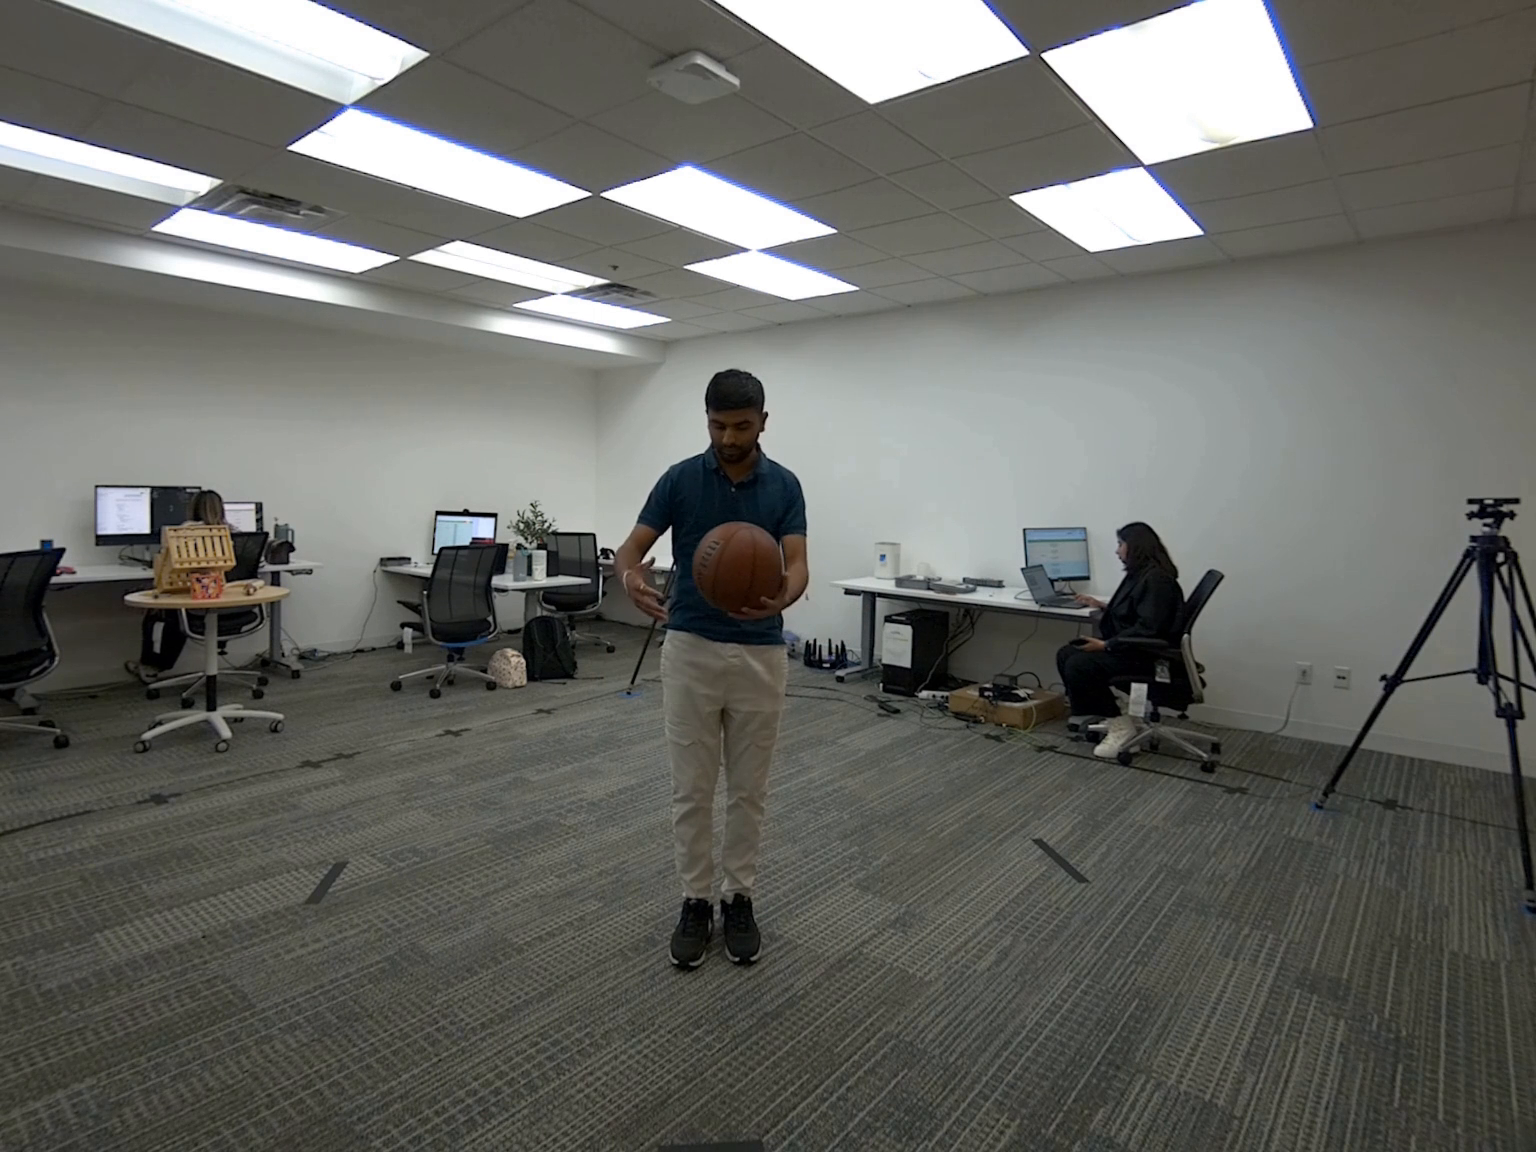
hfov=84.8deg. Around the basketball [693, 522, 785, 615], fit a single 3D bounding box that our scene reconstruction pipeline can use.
[{"bbox_3d":[-0.092,-0.021,2.237,0.235,0.235,0.237,1,4,-2],"label":"basketball"}]
